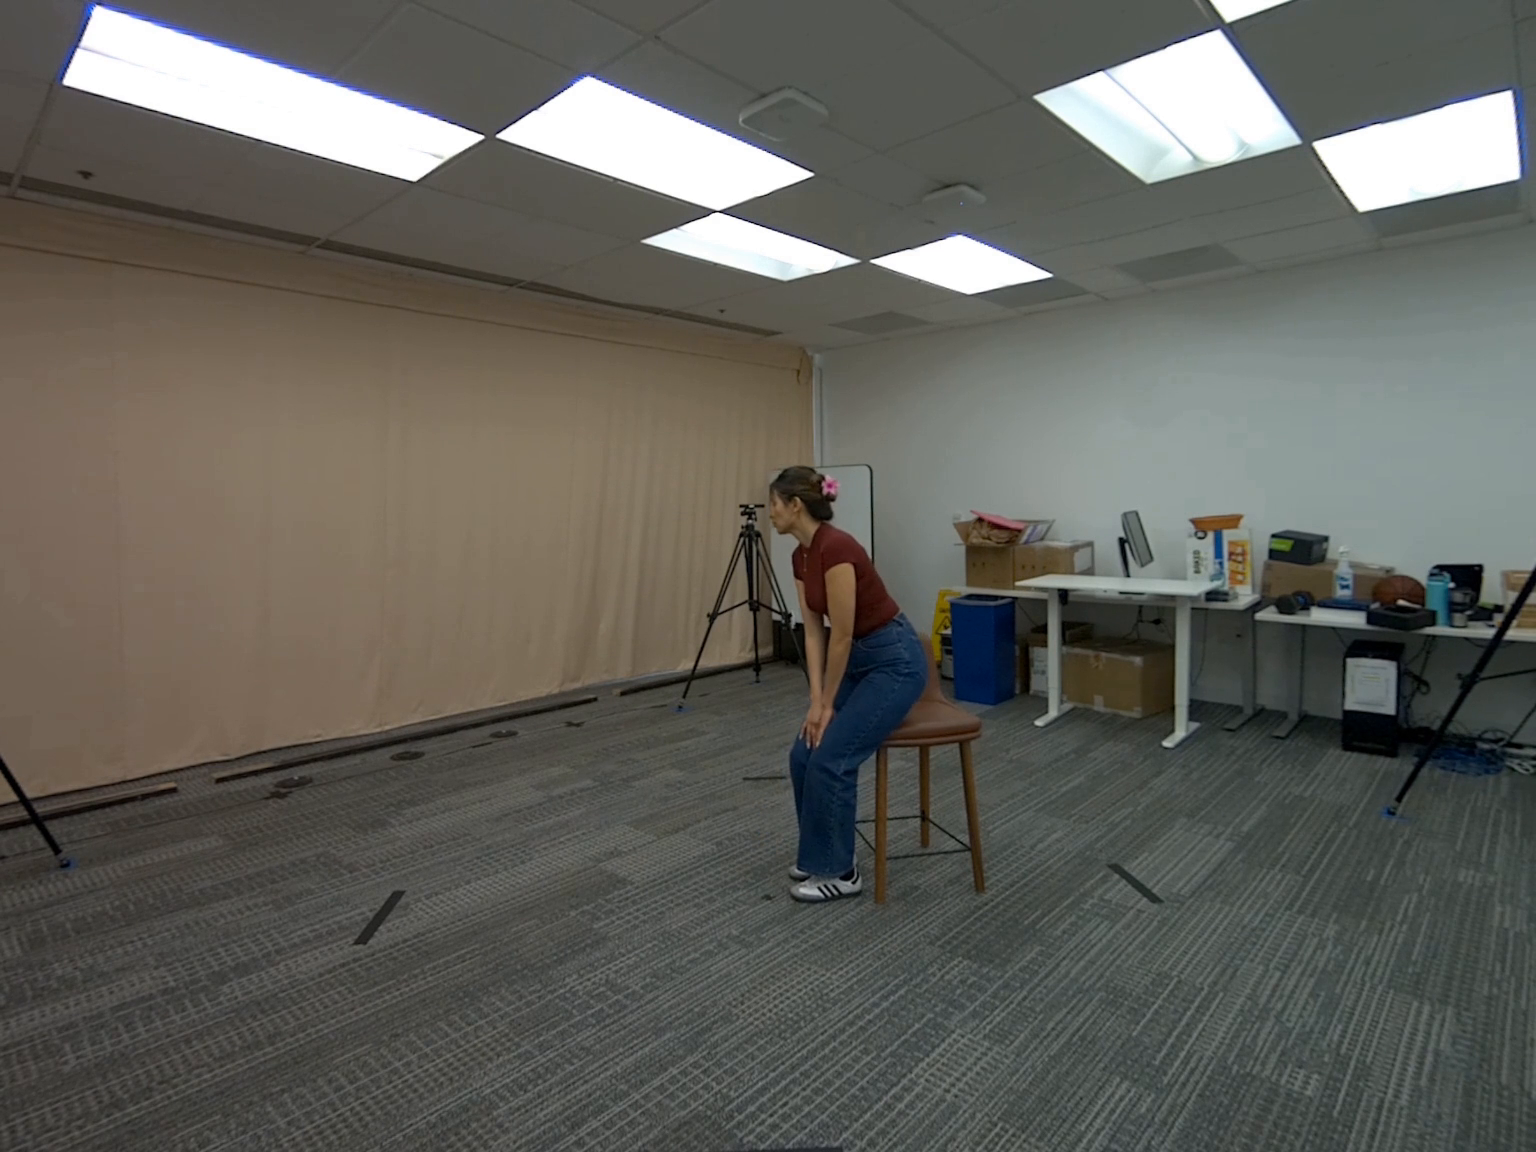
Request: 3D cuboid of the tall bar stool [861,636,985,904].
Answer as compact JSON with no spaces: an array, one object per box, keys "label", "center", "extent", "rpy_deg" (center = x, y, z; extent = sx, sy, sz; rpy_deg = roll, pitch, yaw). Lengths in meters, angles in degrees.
[{"label":"tall bar stool","center":[0.529,0.684,3.163],"extent":[0.450,0.889,0.474],"rpy_deg":[-1,1,-14]}]
